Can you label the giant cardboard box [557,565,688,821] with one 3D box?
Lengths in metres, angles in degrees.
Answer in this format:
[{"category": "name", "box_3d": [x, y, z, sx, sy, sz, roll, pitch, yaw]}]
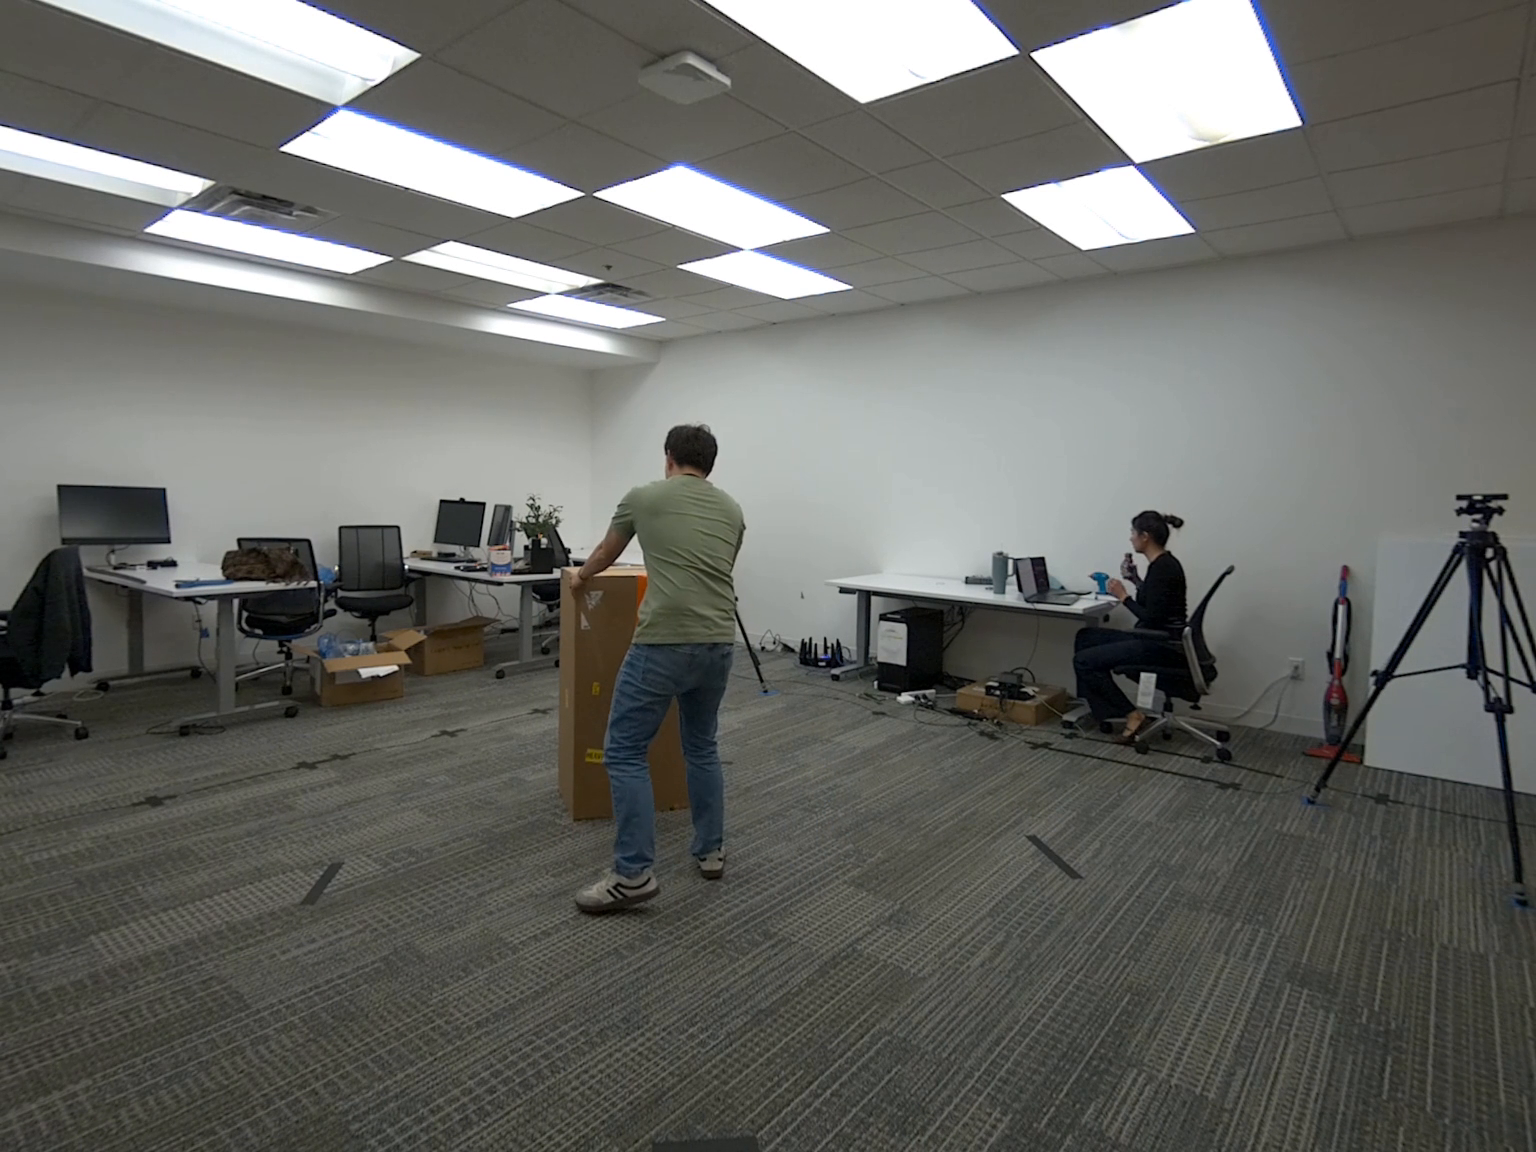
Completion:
[{"category": "giant cardboard box", "box_3d": [-0.628, 0.485, 3.794, 0.566, 1.023, 0.436, 0, 3, -21]}]
